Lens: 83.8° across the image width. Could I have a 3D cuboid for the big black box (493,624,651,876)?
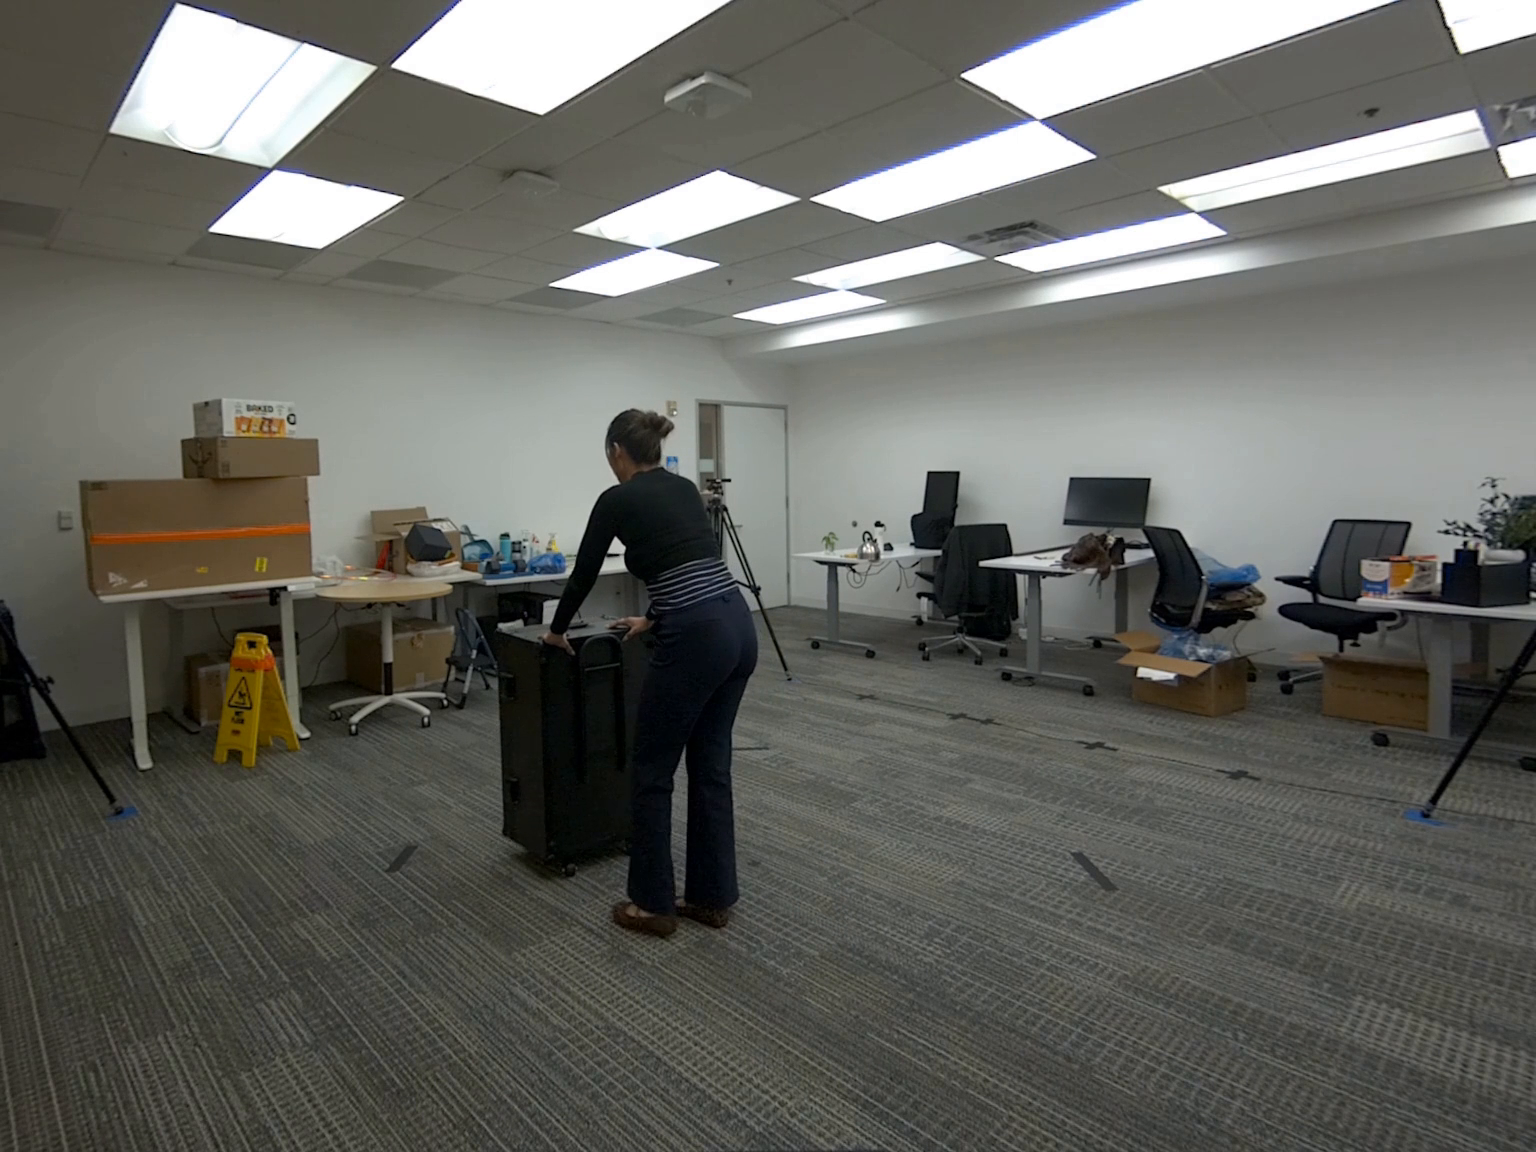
[{"bbox_3d":[-0.703,0.616,3.219,0.507,0.858,0.408,-4,5,-40],"label":"big black box"}]
